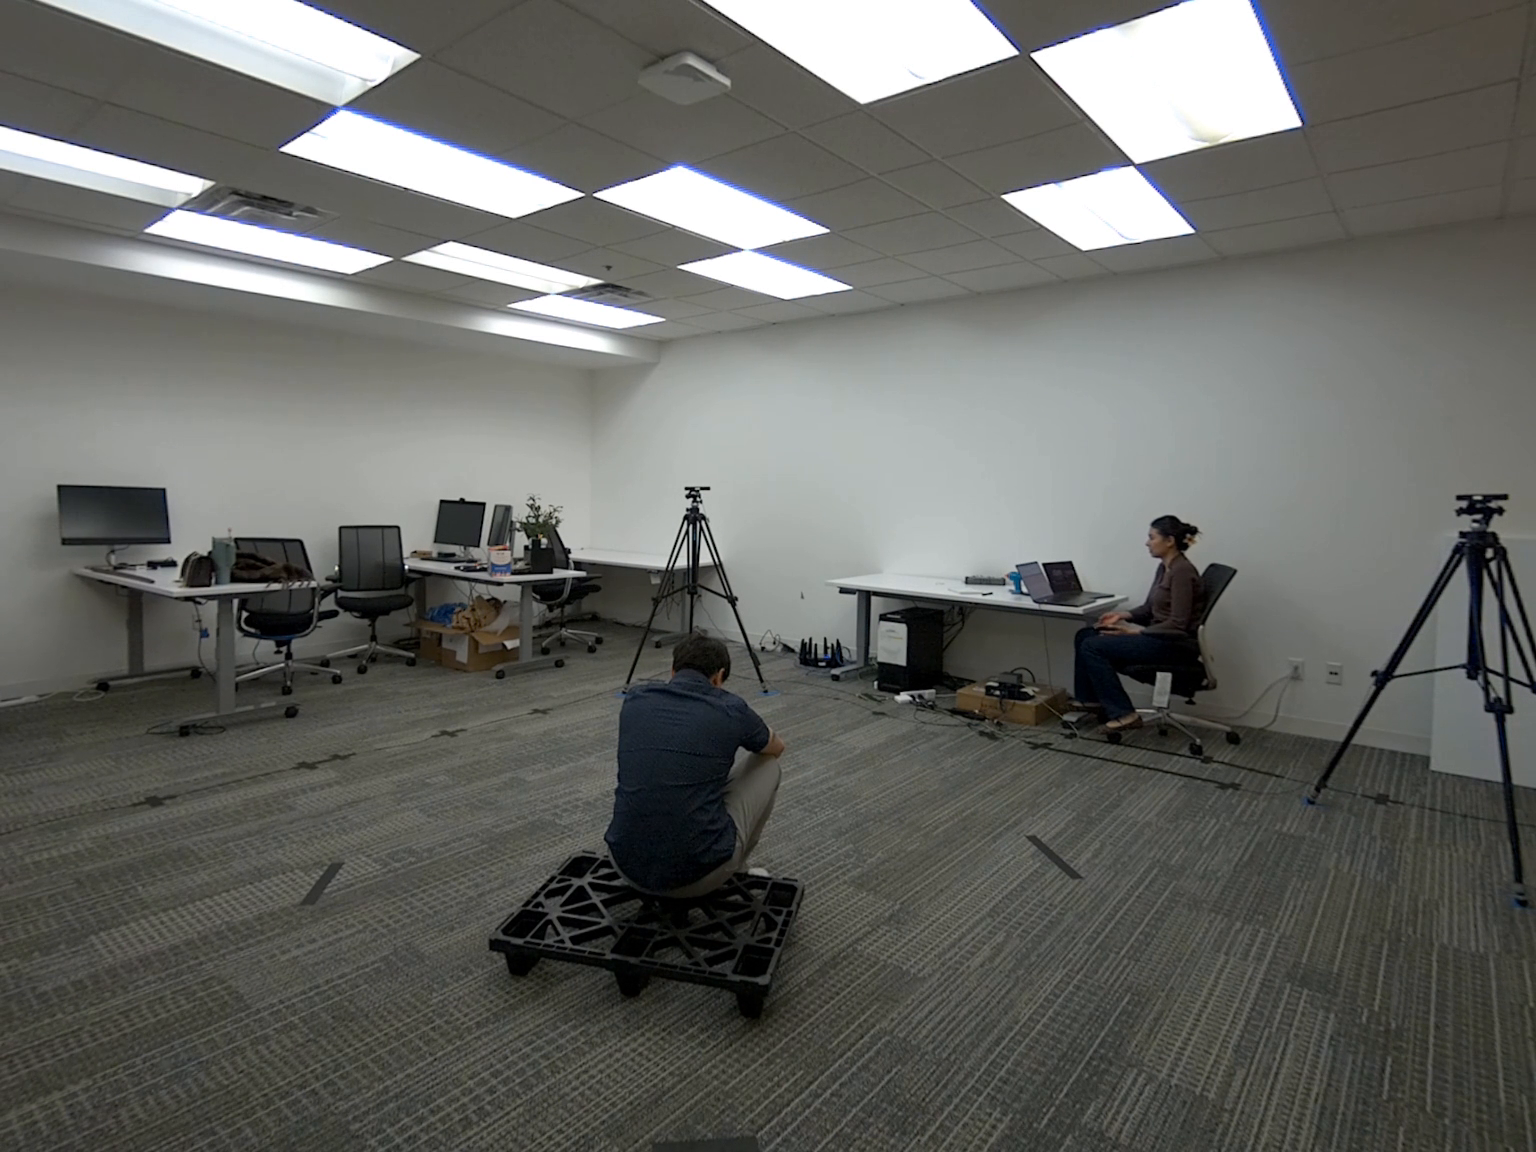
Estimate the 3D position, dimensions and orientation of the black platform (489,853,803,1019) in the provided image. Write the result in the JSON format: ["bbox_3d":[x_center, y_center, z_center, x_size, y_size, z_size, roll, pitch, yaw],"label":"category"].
[{"bbox_3d":[-0.344,1.053,2.547,0.818,0.143,0.598,2,5,13],"label":"black platform"}]
